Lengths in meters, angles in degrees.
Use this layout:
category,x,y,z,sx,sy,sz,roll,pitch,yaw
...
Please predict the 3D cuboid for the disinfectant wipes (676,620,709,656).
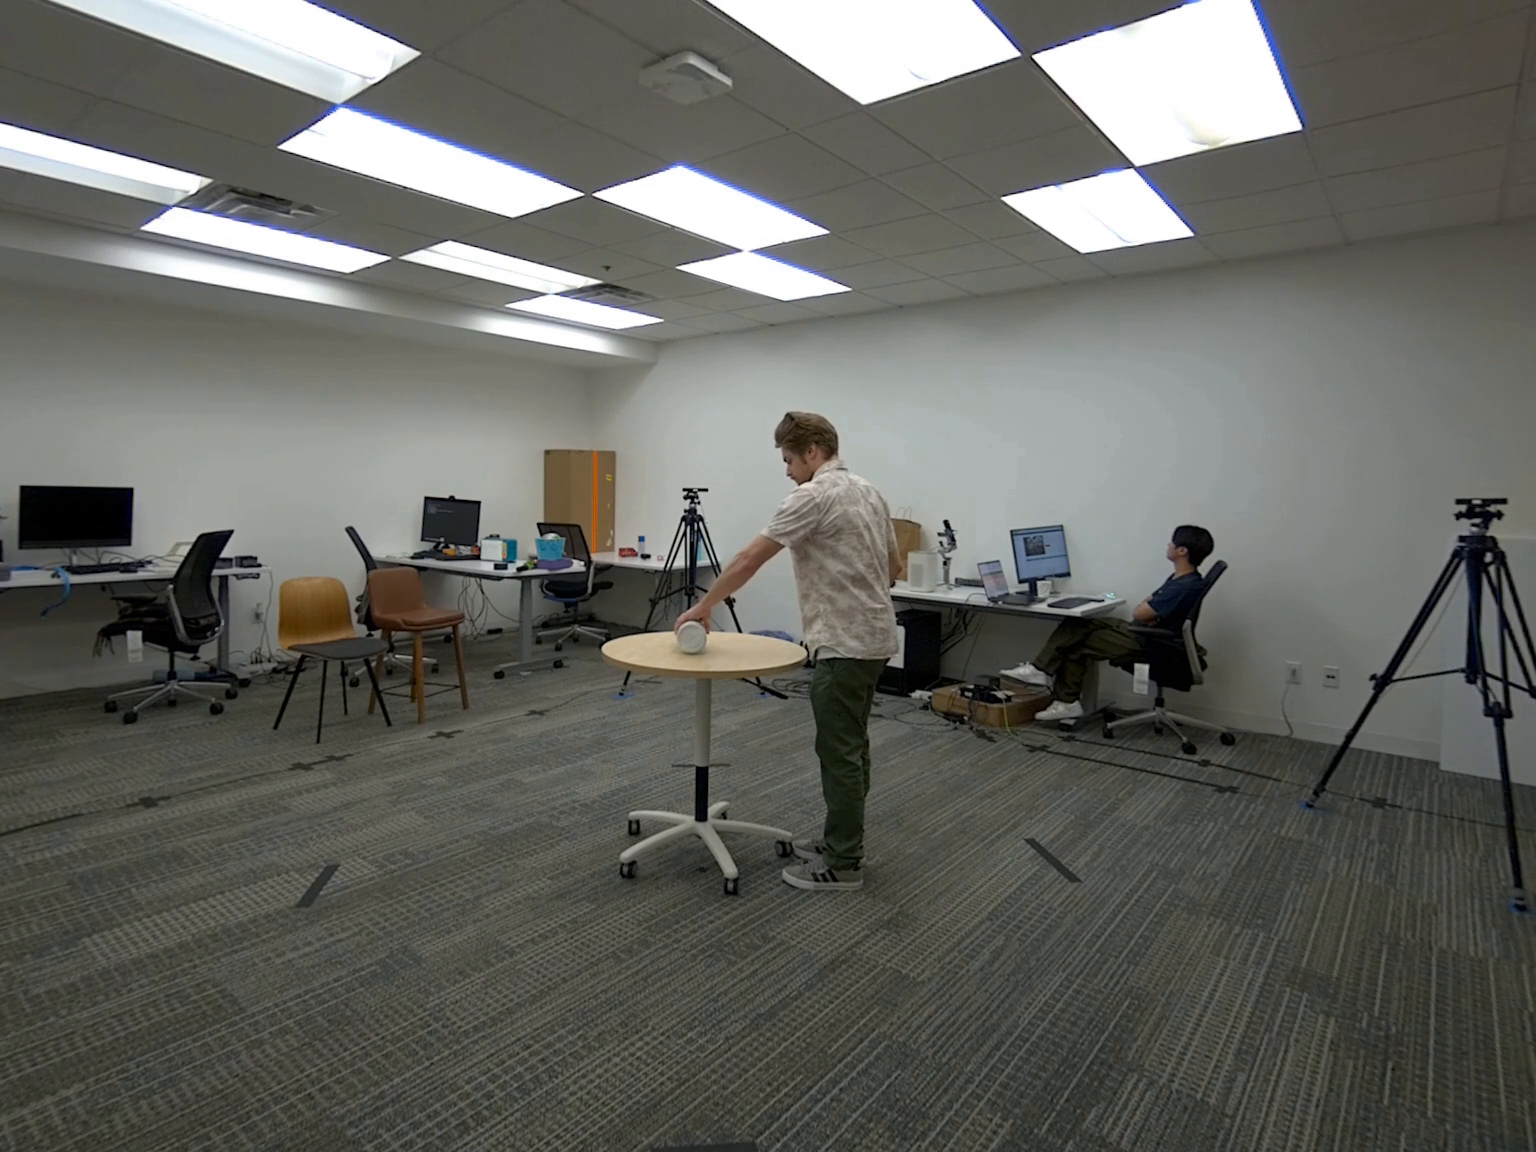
category,x,y,z,sx,sy,sz,roll,pitch,yaw
disinfectant wipes,-0.298,0.207,3.166,0.117,0.117,0.219,0,5,-6
